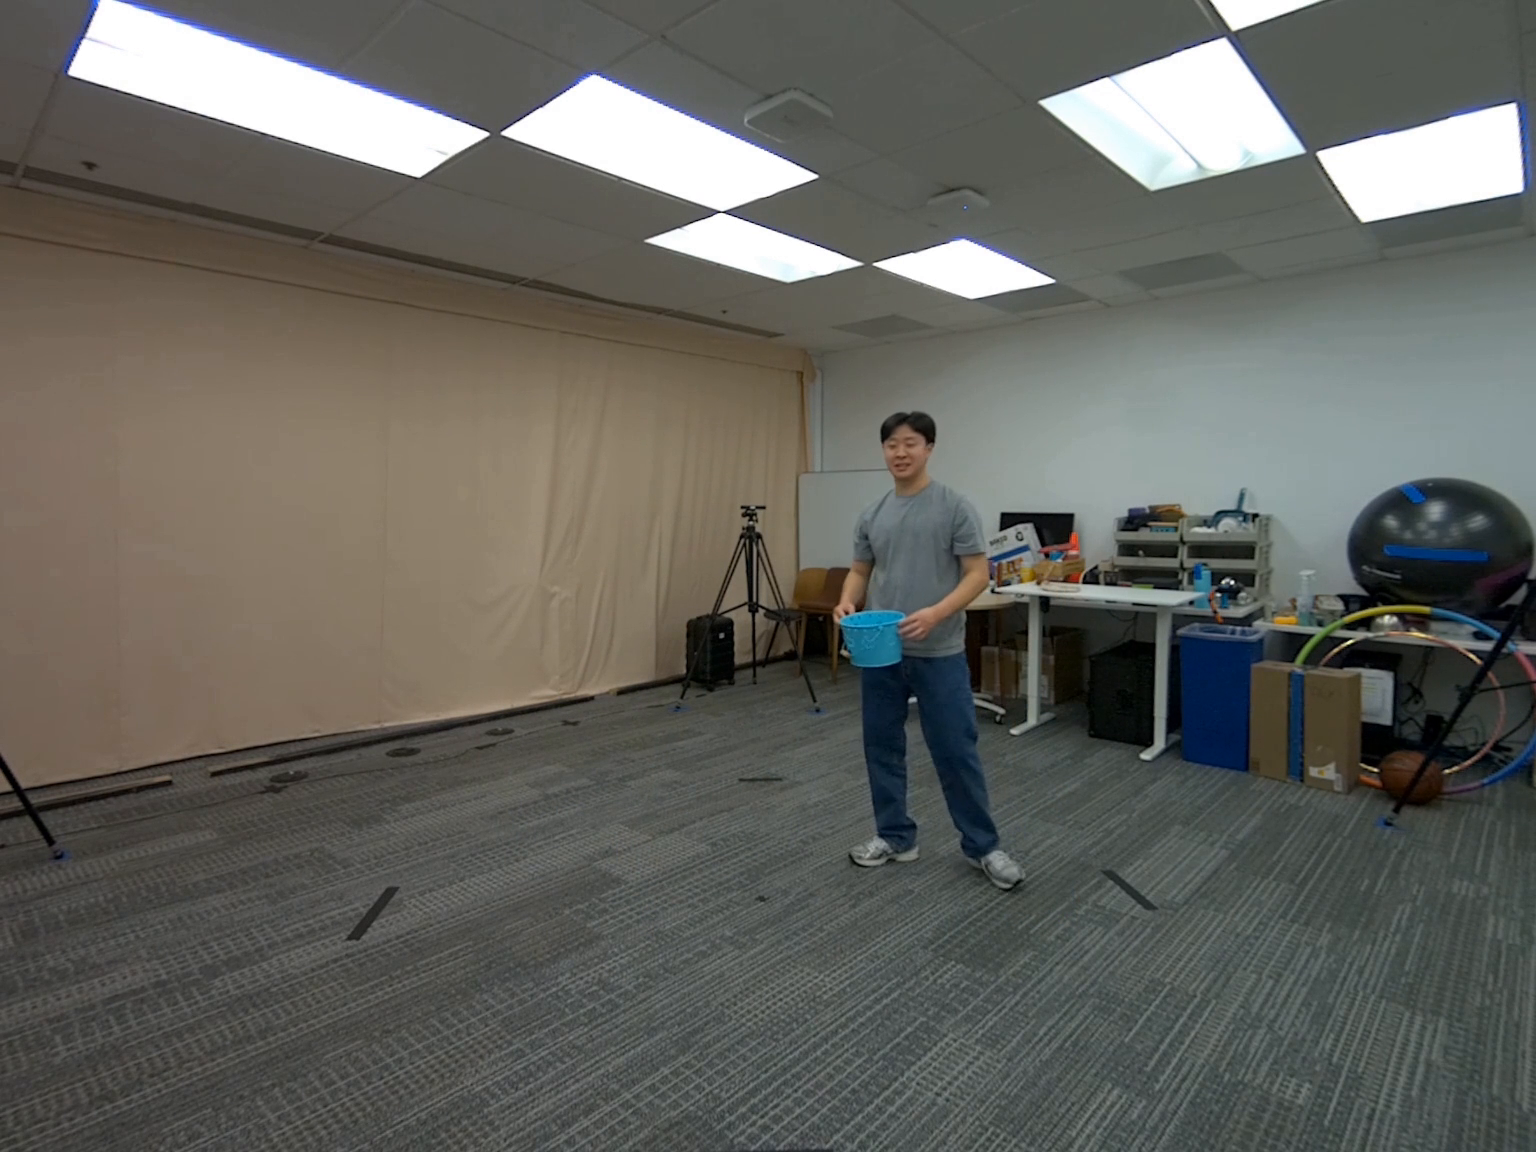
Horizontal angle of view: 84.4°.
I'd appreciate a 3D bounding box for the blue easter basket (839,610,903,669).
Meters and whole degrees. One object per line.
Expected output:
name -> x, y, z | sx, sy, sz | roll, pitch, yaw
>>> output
blue easter basket -> 0.385, 0.227, 3.000 | 0.243, 0.155, 0.245 | -5, 8, -1
